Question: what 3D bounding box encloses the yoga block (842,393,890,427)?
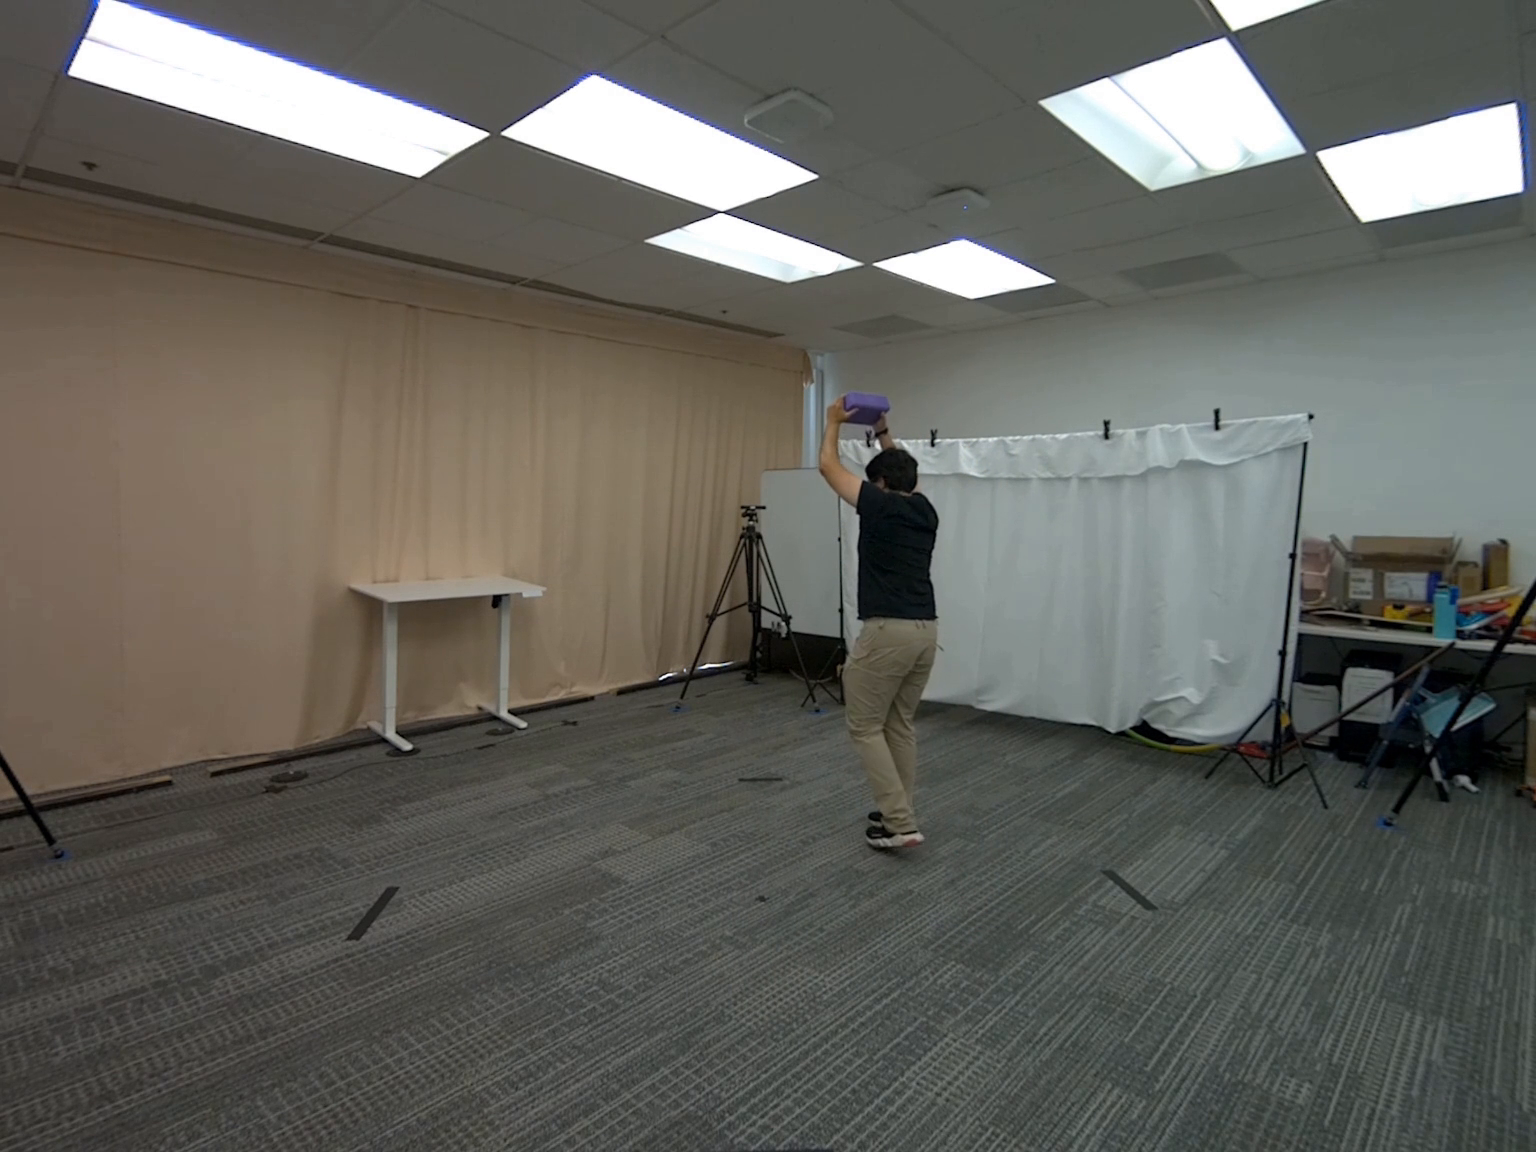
[{"bbox_3d":[0.426,-0.745,3.775,0.223,0.078,0.151,-1,-22,-32],"label":"yoga block"}]
